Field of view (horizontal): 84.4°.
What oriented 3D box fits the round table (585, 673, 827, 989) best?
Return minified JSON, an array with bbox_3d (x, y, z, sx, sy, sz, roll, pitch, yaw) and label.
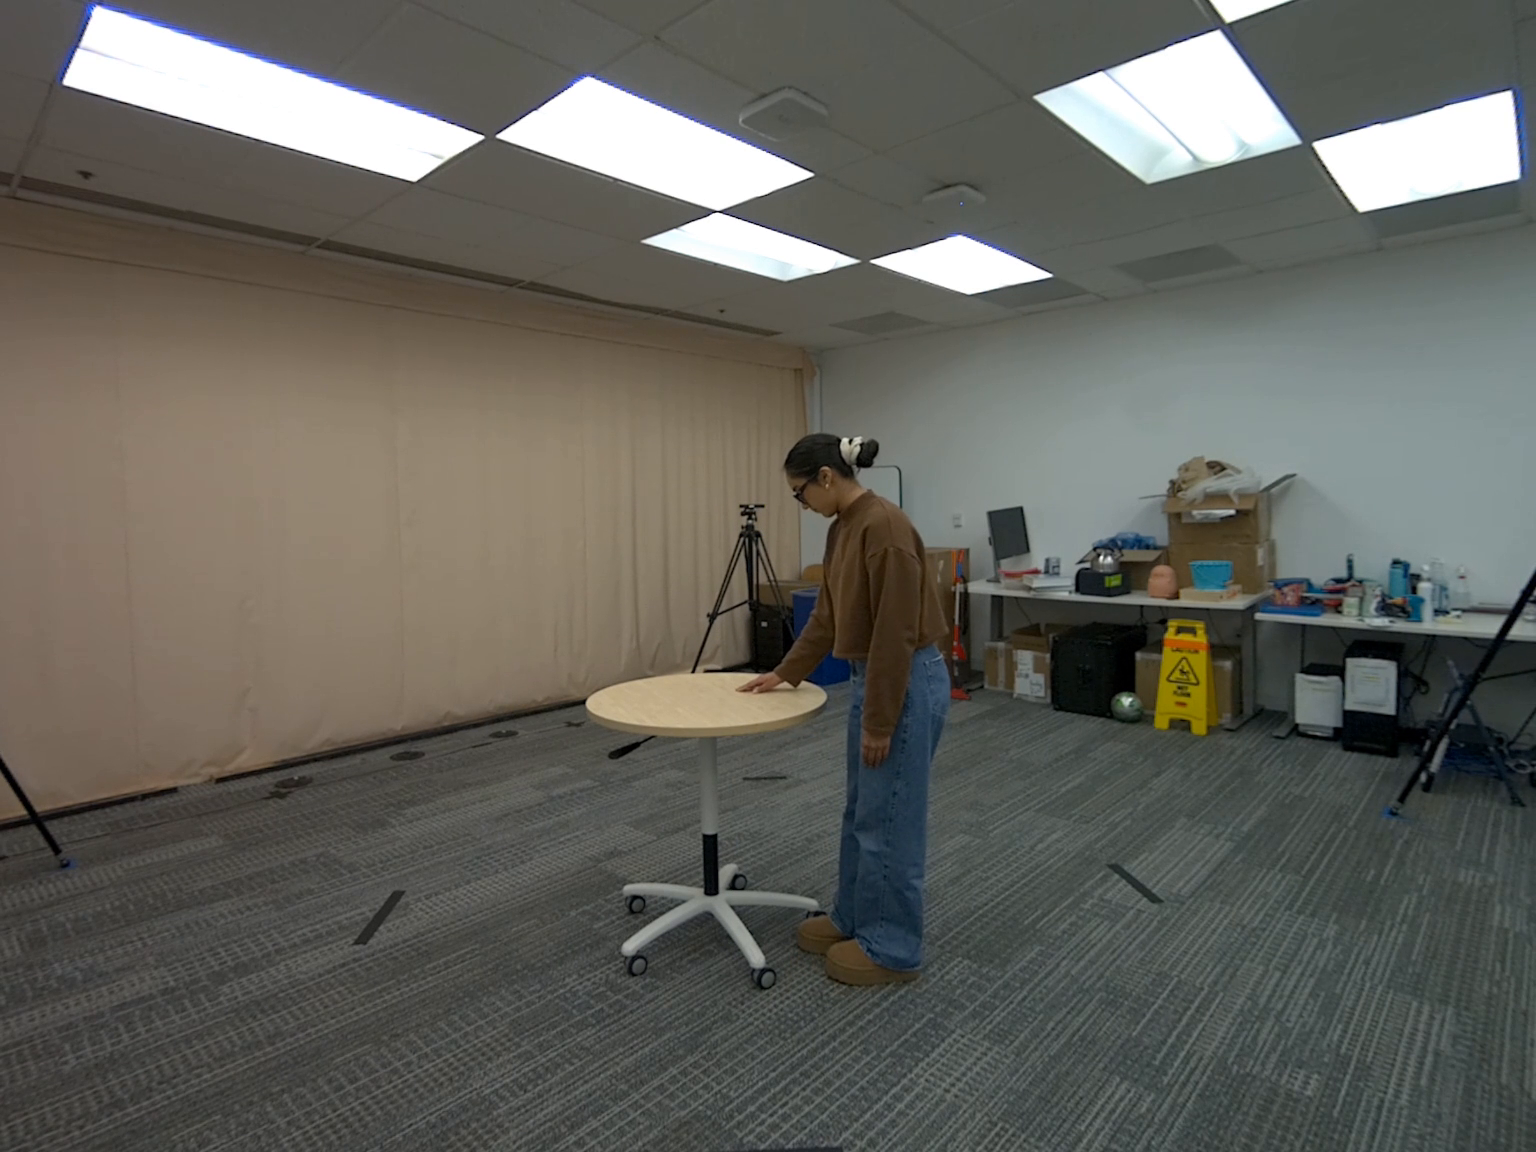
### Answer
[{"bbox_3d":[-0.187,0.781,2.708,0.763,0.792,0.767,-1,4,-2],"label":"round table"}]
